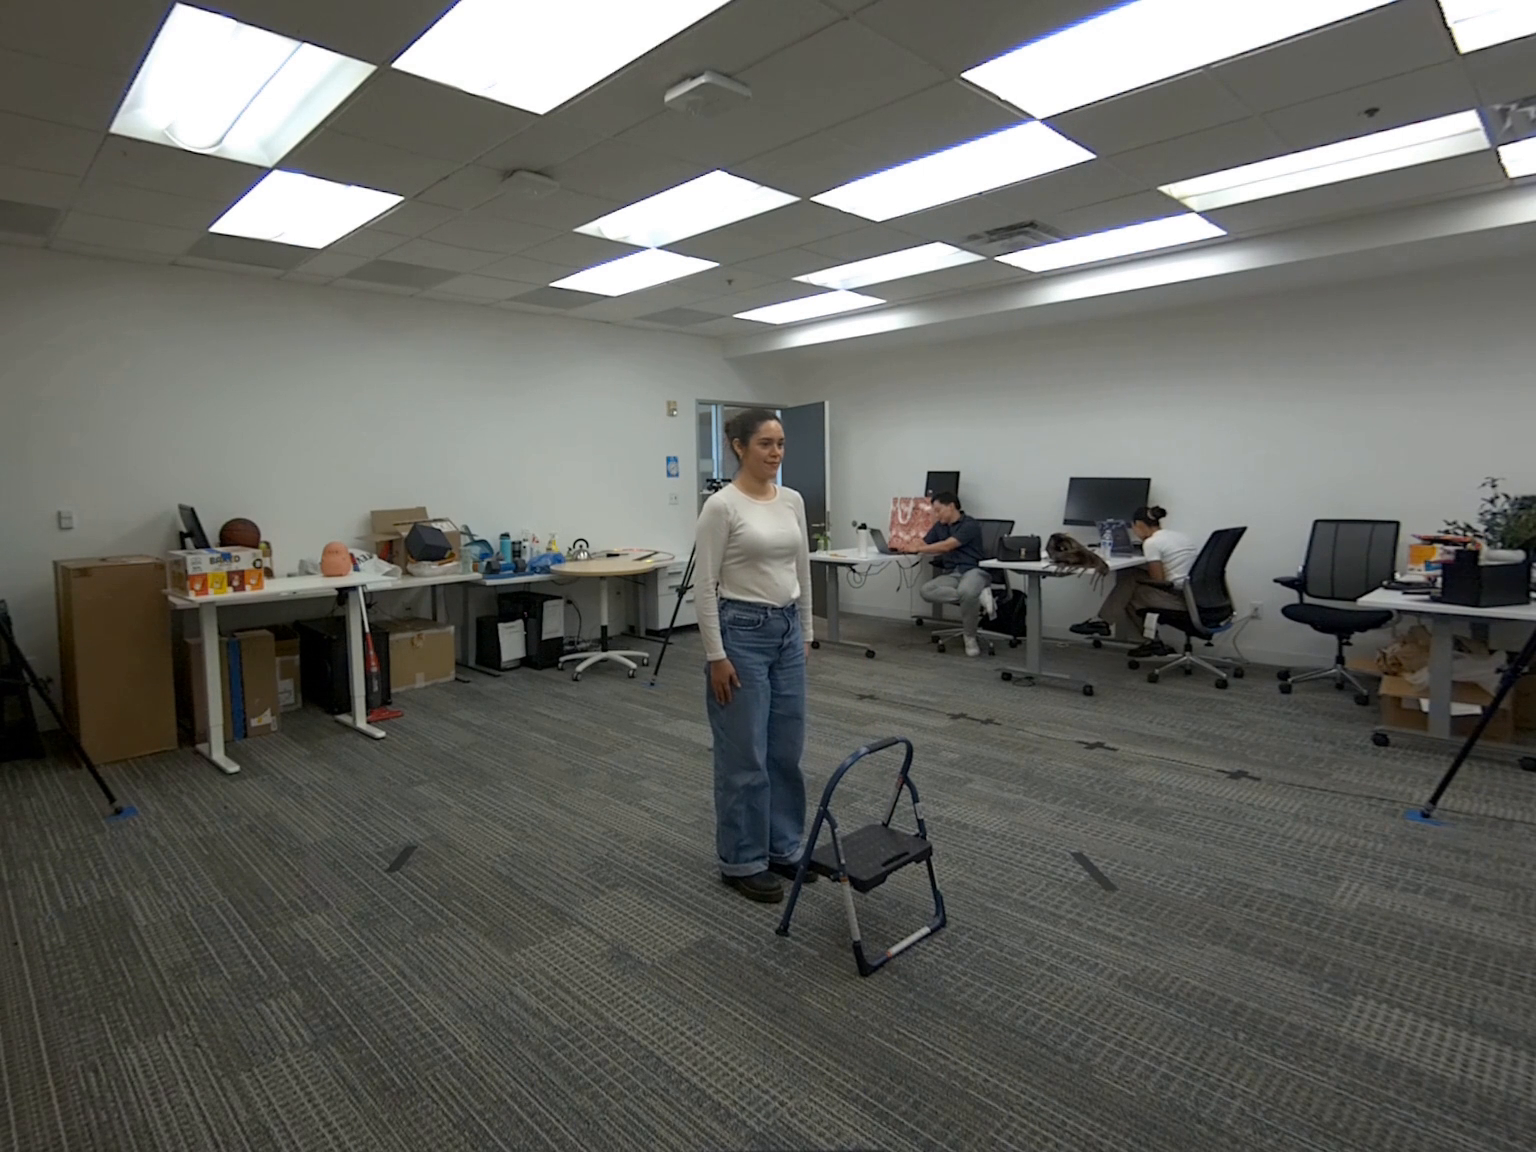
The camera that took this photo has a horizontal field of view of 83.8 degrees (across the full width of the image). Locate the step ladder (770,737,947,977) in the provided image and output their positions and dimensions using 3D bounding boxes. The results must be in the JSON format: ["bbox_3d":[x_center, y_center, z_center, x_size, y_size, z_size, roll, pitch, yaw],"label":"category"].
[{"bbox_3d":[0.289,0.792,2.627,0.419,0.604,0.360,-5,6,-45],"label":"step ladder"}]
